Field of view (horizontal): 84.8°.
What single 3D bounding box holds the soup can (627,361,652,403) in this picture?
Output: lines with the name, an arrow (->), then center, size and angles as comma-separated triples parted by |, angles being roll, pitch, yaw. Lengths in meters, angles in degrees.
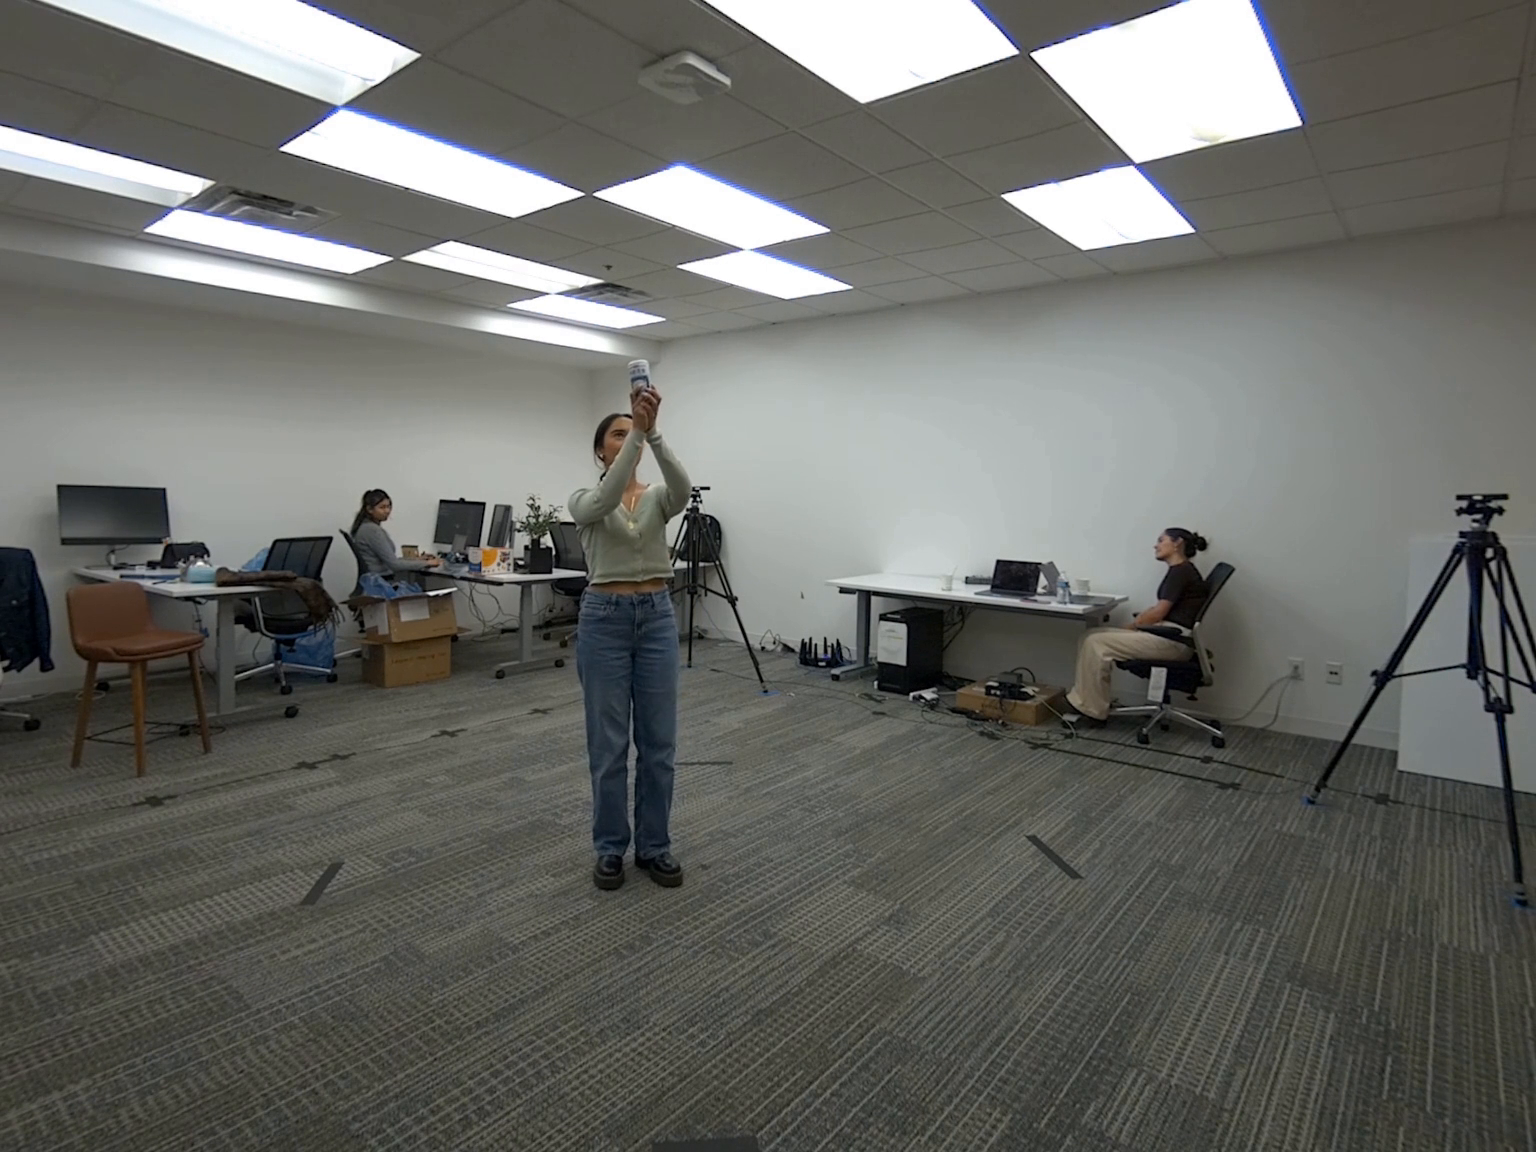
soup can -> -0.417, -0.626, 2.727 | 0.067, 0.122, 0.067 | -4, -2, -2
